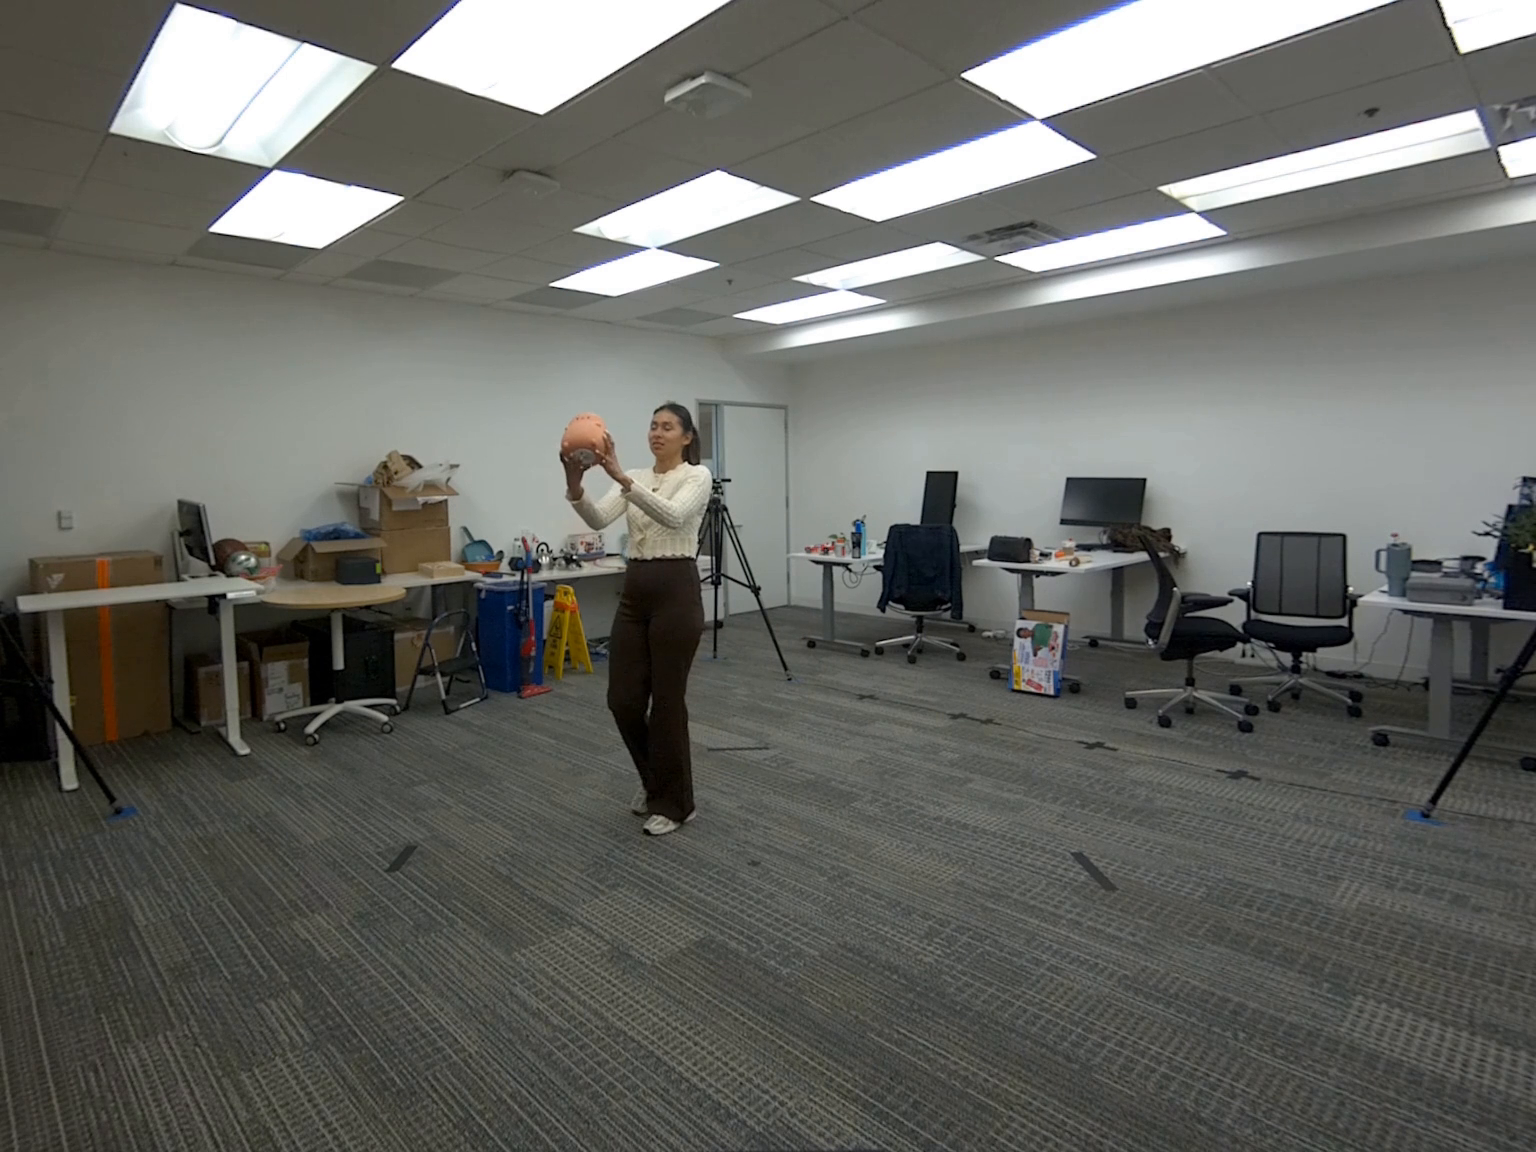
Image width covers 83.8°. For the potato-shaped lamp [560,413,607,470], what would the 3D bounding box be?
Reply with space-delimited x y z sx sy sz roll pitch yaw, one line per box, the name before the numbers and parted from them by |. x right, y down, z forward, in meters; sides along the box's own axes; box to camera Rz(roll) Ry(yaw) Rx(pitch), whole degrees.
potato-shaped lamp | -0.647 -0.489 3.036 0.166 0.203 0.166 -8 -28 6
